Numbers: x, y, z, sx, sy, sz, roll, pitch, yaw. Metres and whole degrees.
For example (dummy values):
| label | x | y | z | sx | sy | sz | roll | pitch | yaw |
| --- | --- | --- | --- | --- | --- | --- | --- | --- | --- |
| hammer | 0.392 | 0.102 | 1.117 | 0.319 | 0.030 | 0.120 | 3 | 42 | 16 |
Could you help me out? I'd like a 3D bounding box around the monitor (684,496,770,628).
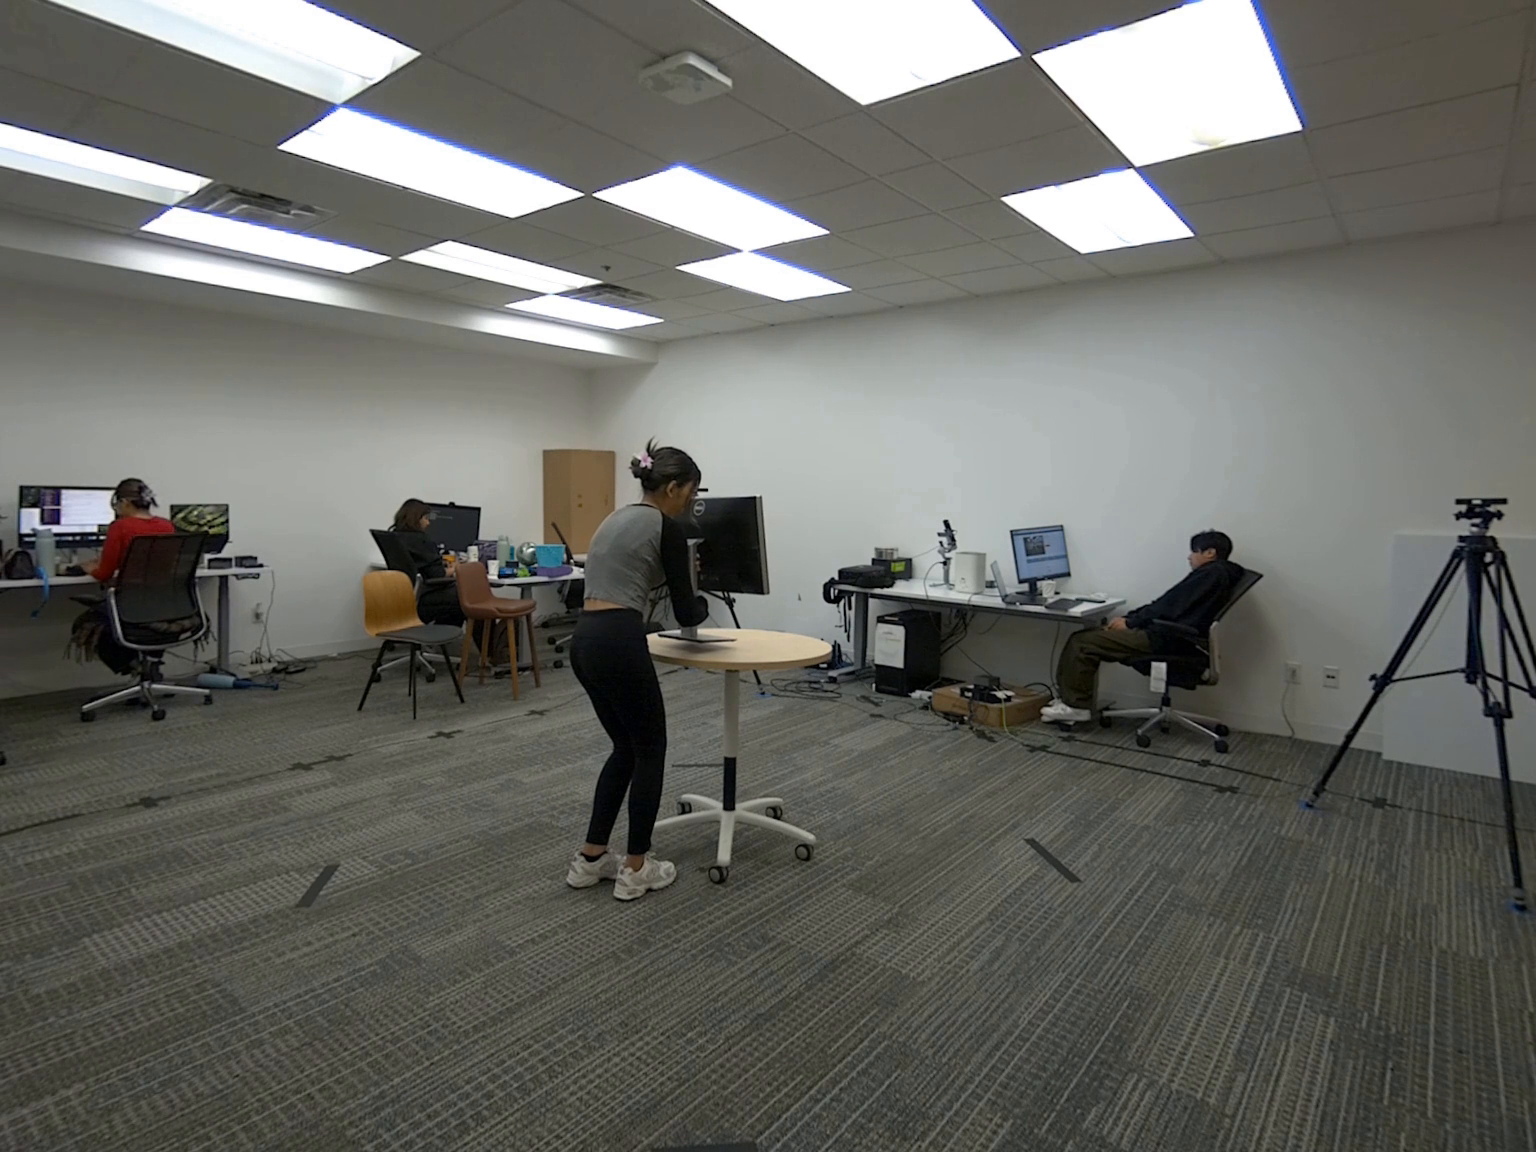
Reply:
| label | x | y | z | sx | sy | sz | roll | pitch | yaw |
| --- | --- | --- | --- | --- | --- | --- | --- | --- | --- |
| monitor | -0.261 | -0.031 | 3.215 | 0.557 | 0.524 | 0.180 | 2 | -3 | 42 |
